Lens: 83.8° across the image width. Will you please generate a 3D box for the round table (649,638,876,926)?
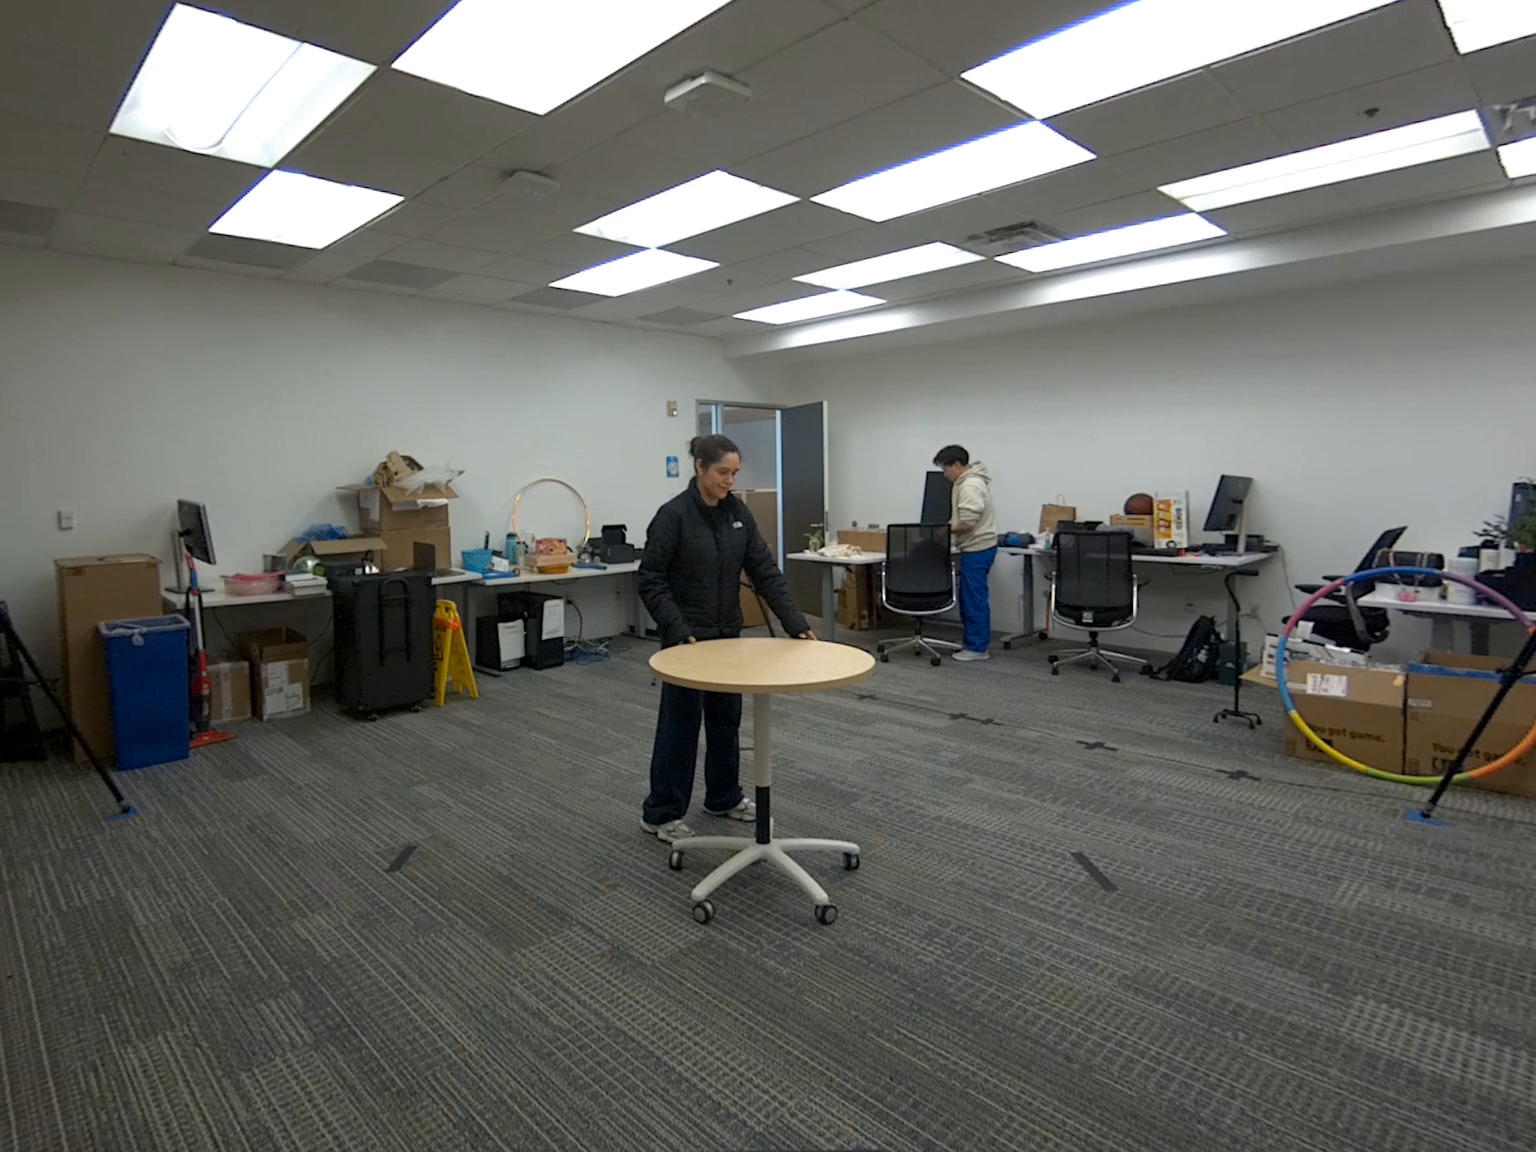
[{"bbox_3d":[-0.004,0.668,2.953,0.784,0.783,0.789,-1,5,-2],"label":"round table"}]
